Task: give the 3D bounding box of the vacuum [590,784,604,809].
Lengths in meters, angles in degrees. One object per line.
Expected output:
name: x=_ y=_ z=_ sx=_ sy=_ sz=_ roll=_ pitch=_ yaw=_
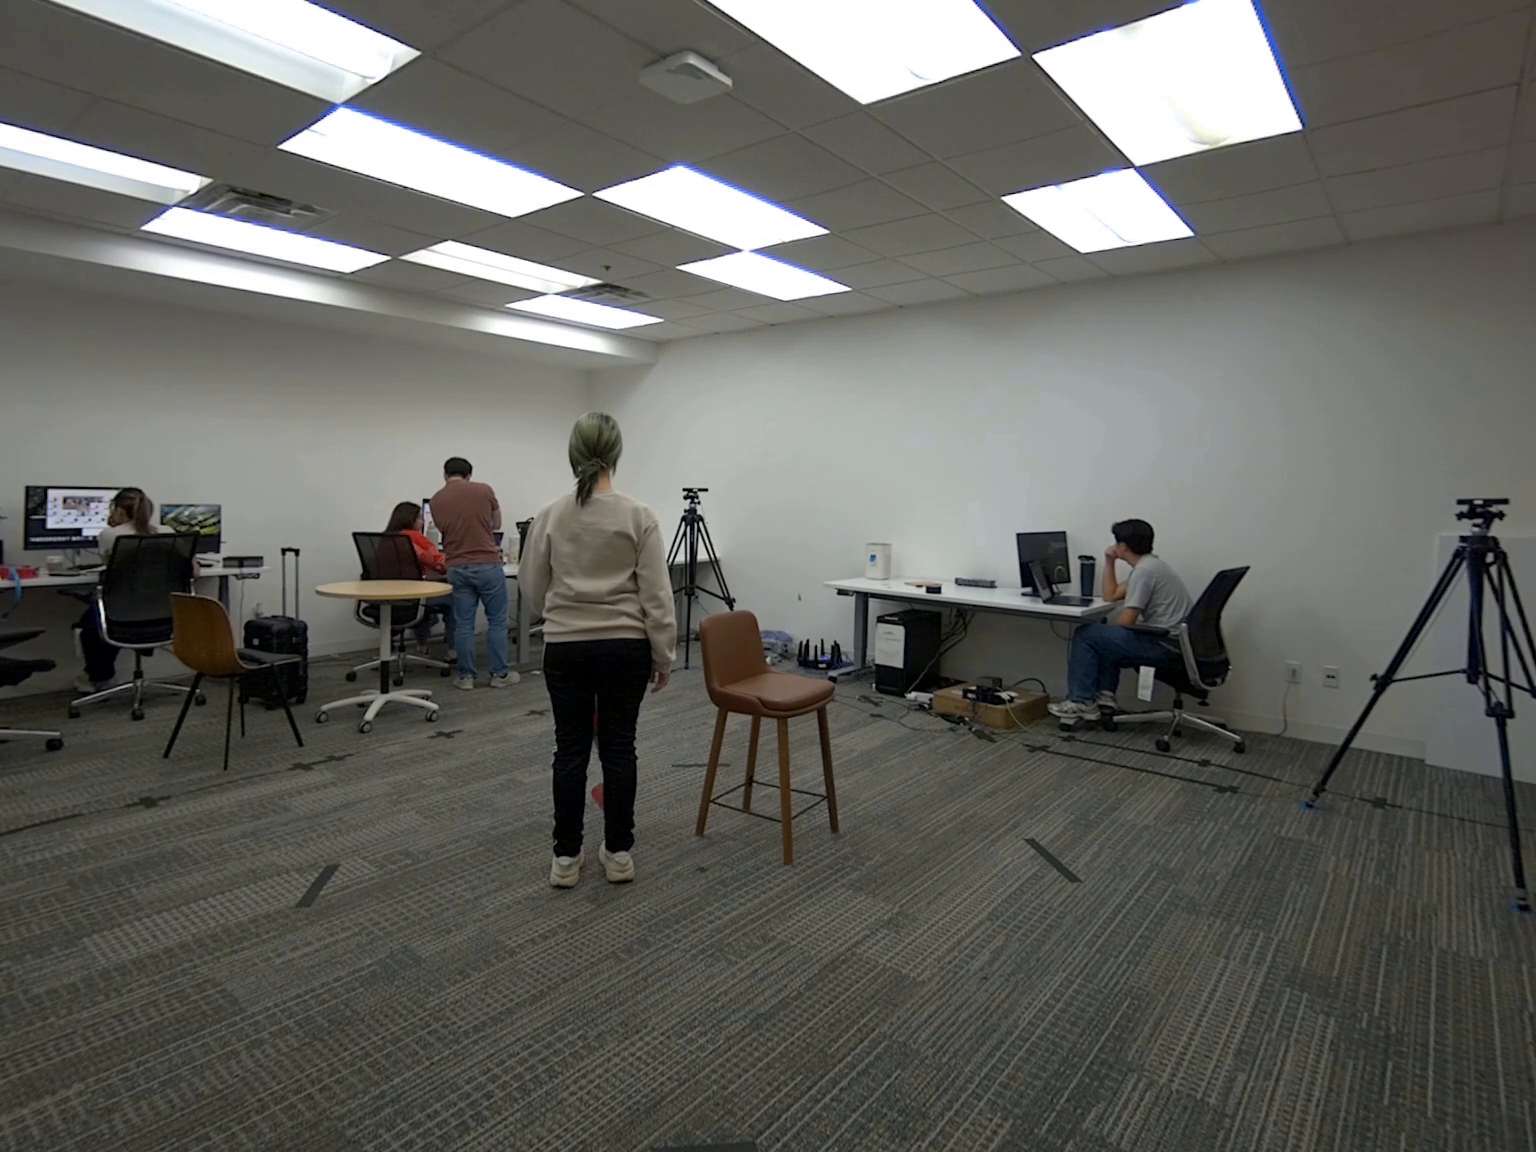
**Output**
vacuum: x=-0.706 y=0.347 z=3.366 sx=0.141 sy=1.046 sz=0.259 roll=-5 pitch=3 yaw=-24
